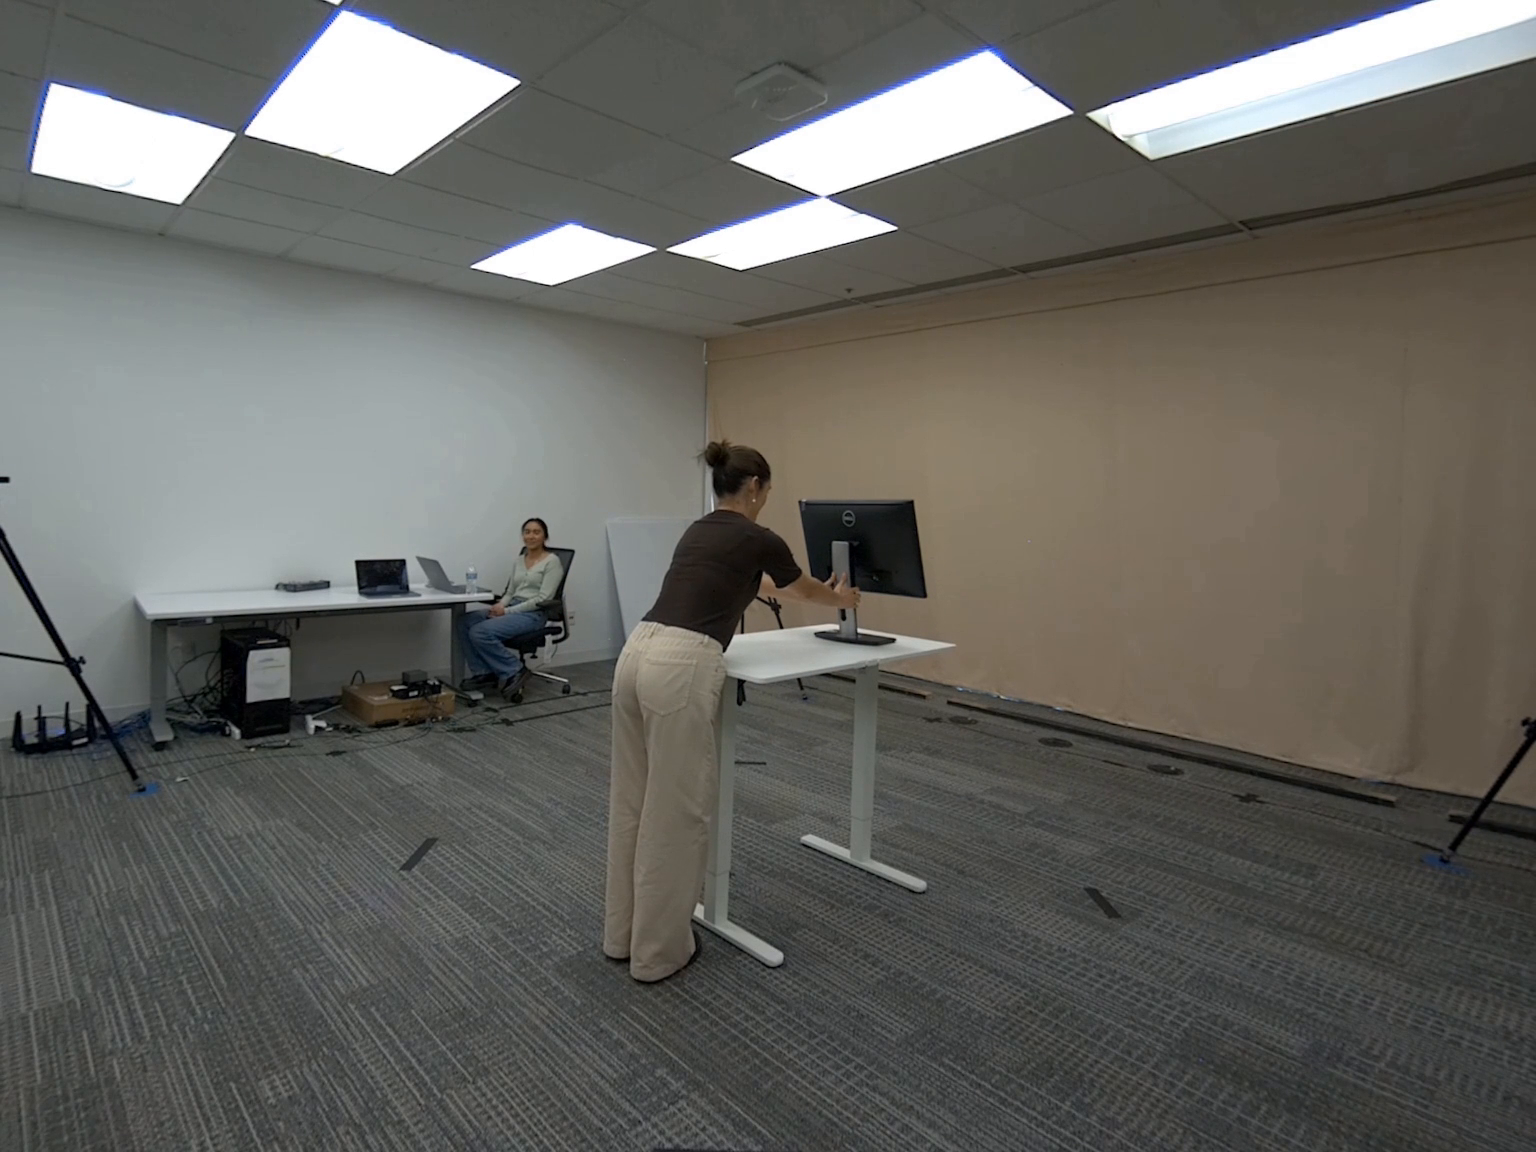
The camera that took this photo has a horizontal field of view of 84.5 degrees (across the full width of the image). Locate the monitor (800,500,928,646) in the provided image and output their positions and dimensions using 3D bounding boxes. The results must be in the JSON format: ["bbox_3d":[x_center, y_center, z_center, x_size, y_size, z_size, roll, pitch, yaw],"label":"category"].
[{"bbox_3d":[0.312,-0.015,3.073,0.183,0.521,0.553,-4,6,-44],"label":"monitor"}]
